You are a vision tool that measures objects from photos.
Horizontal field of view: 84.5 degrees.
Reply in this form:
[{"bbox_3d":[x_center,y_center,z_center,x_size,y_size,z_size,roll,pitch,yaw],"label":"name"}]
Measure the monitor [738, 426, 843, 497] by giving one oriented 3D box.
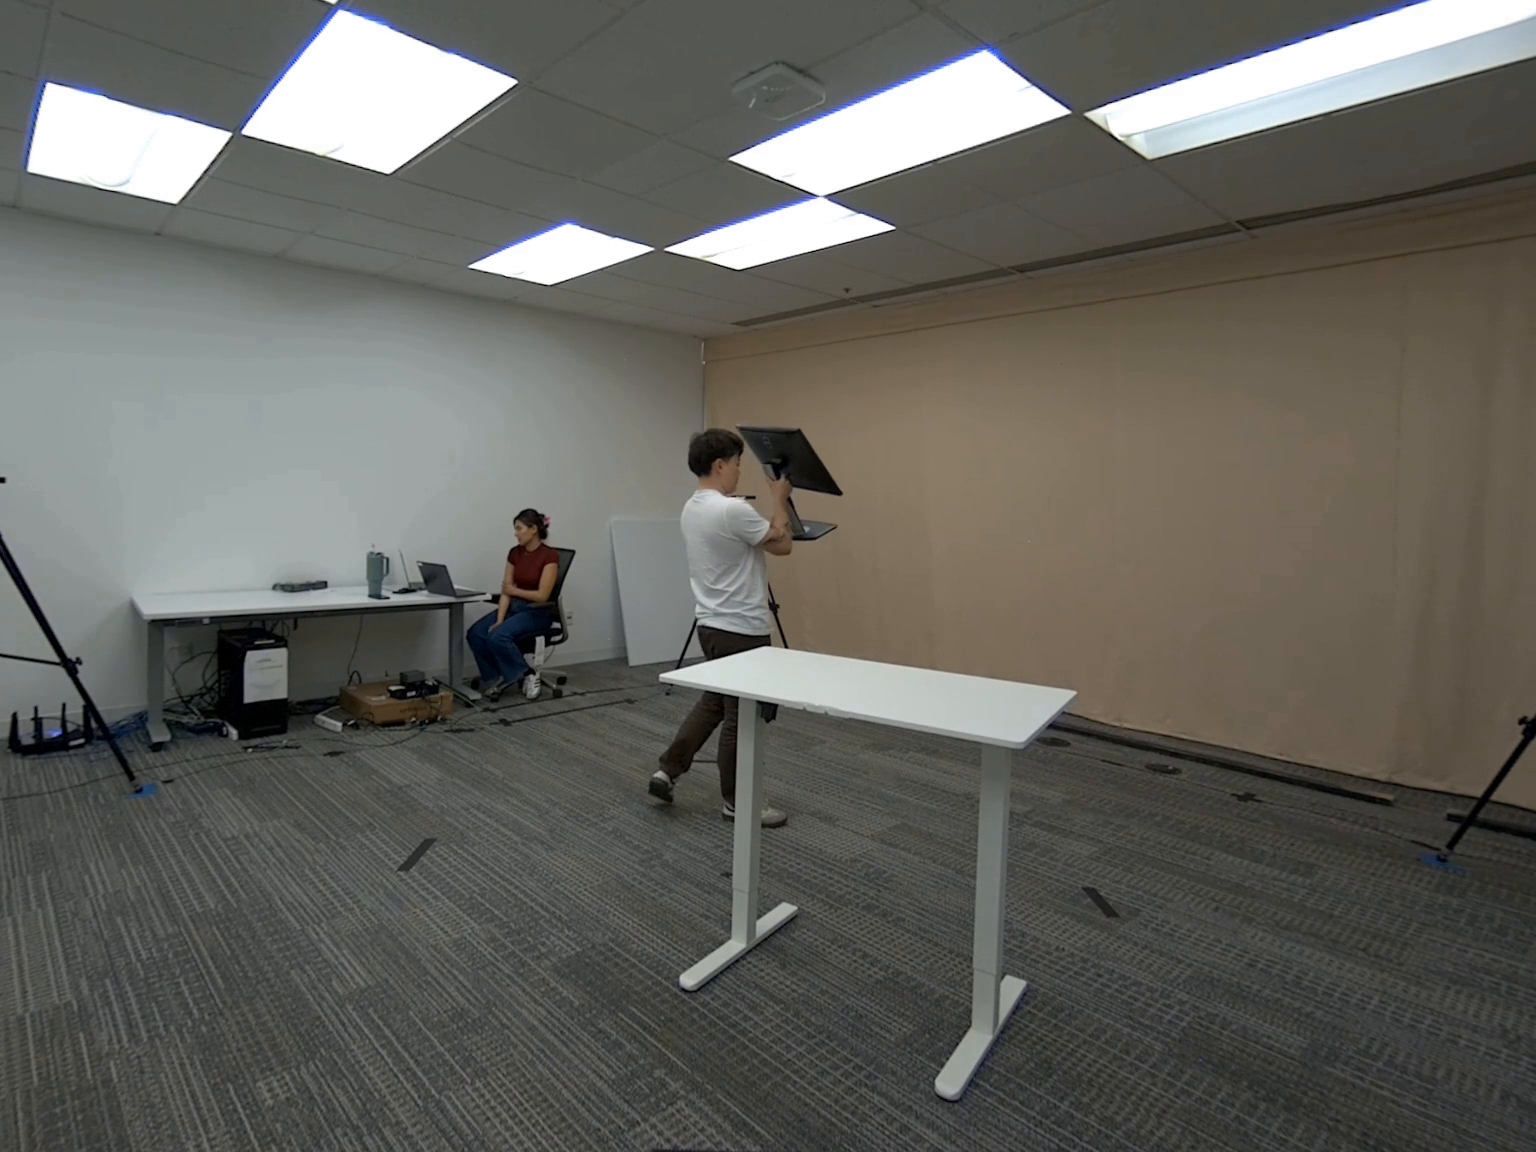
[{"bbox_3d":[0.078,-0.416,3.662,0.186,0.512,0.553,-32,24,-23],"label":"monitor"}]
